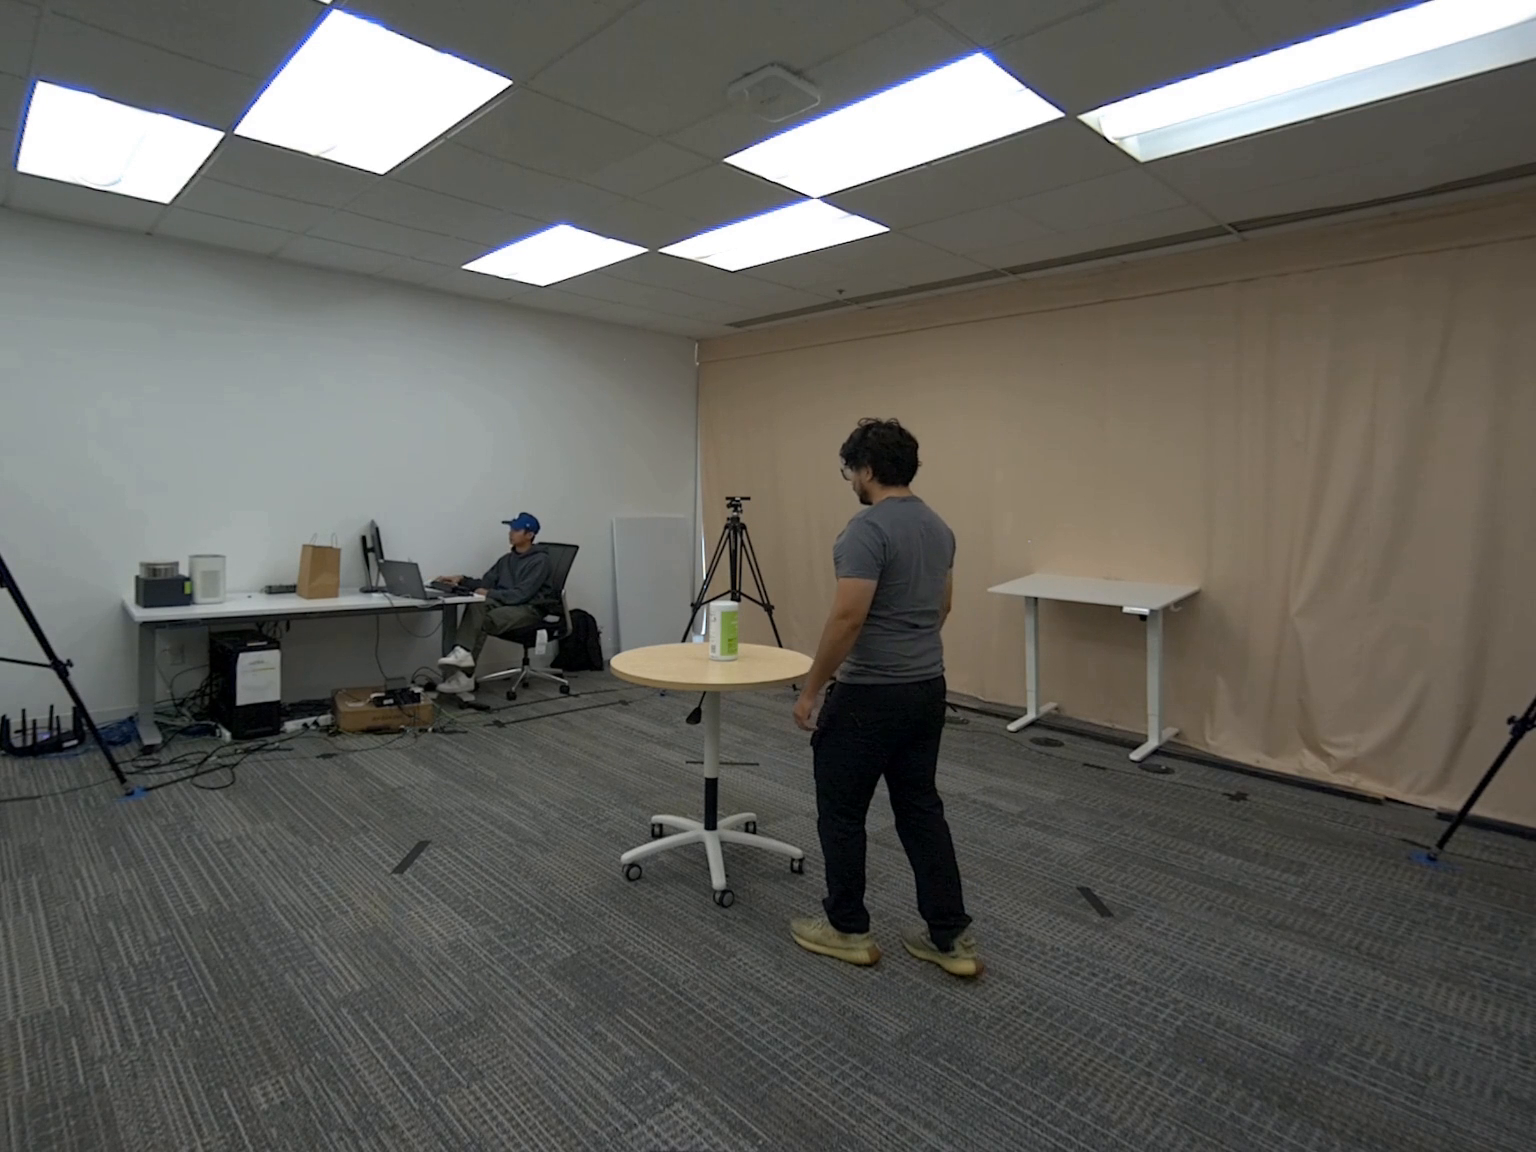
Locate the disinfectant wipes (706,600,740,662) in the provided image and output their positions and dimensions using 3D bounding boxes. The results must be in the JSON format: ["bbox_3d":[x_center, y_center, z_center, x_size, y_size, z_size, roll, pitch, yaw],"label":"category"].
[{"bbox_3d":[-0.177,0.207,3.186,0.118,0.217,0.118,2,4,-1],"label":"disinfectant wipes"}]
